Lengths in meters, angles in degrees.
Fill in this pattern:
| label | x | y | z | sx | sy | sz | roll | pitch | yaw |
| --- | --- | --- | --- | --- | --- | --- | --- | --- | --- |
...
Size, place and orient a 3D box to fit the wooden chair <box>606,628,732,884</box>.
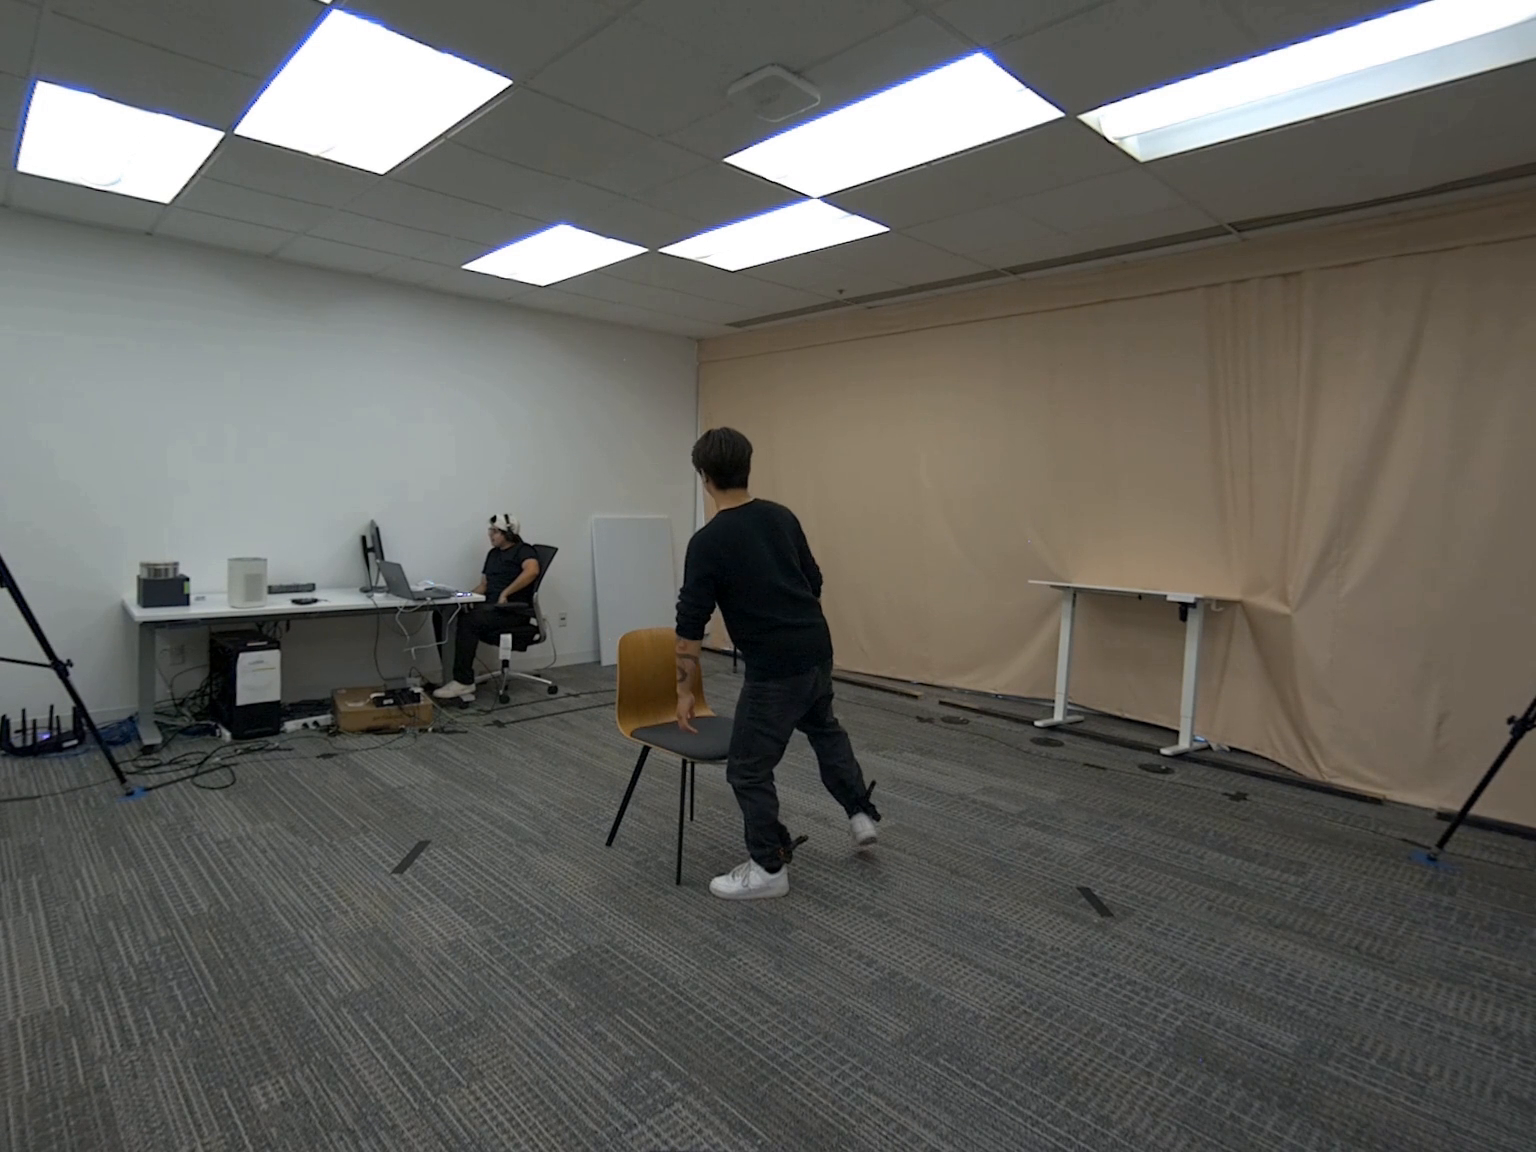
| label | x | y | z | sx | sy | sz | roll | pitch | yaw |
| --- | --- | --- | --- | --- | --- | --- | --- | --- | --- |
| wooden chair | -0.312 | 0.656 | 3.302 | 0.467 | 0.877 | 0.535 | -1 | 0 | -44 |
